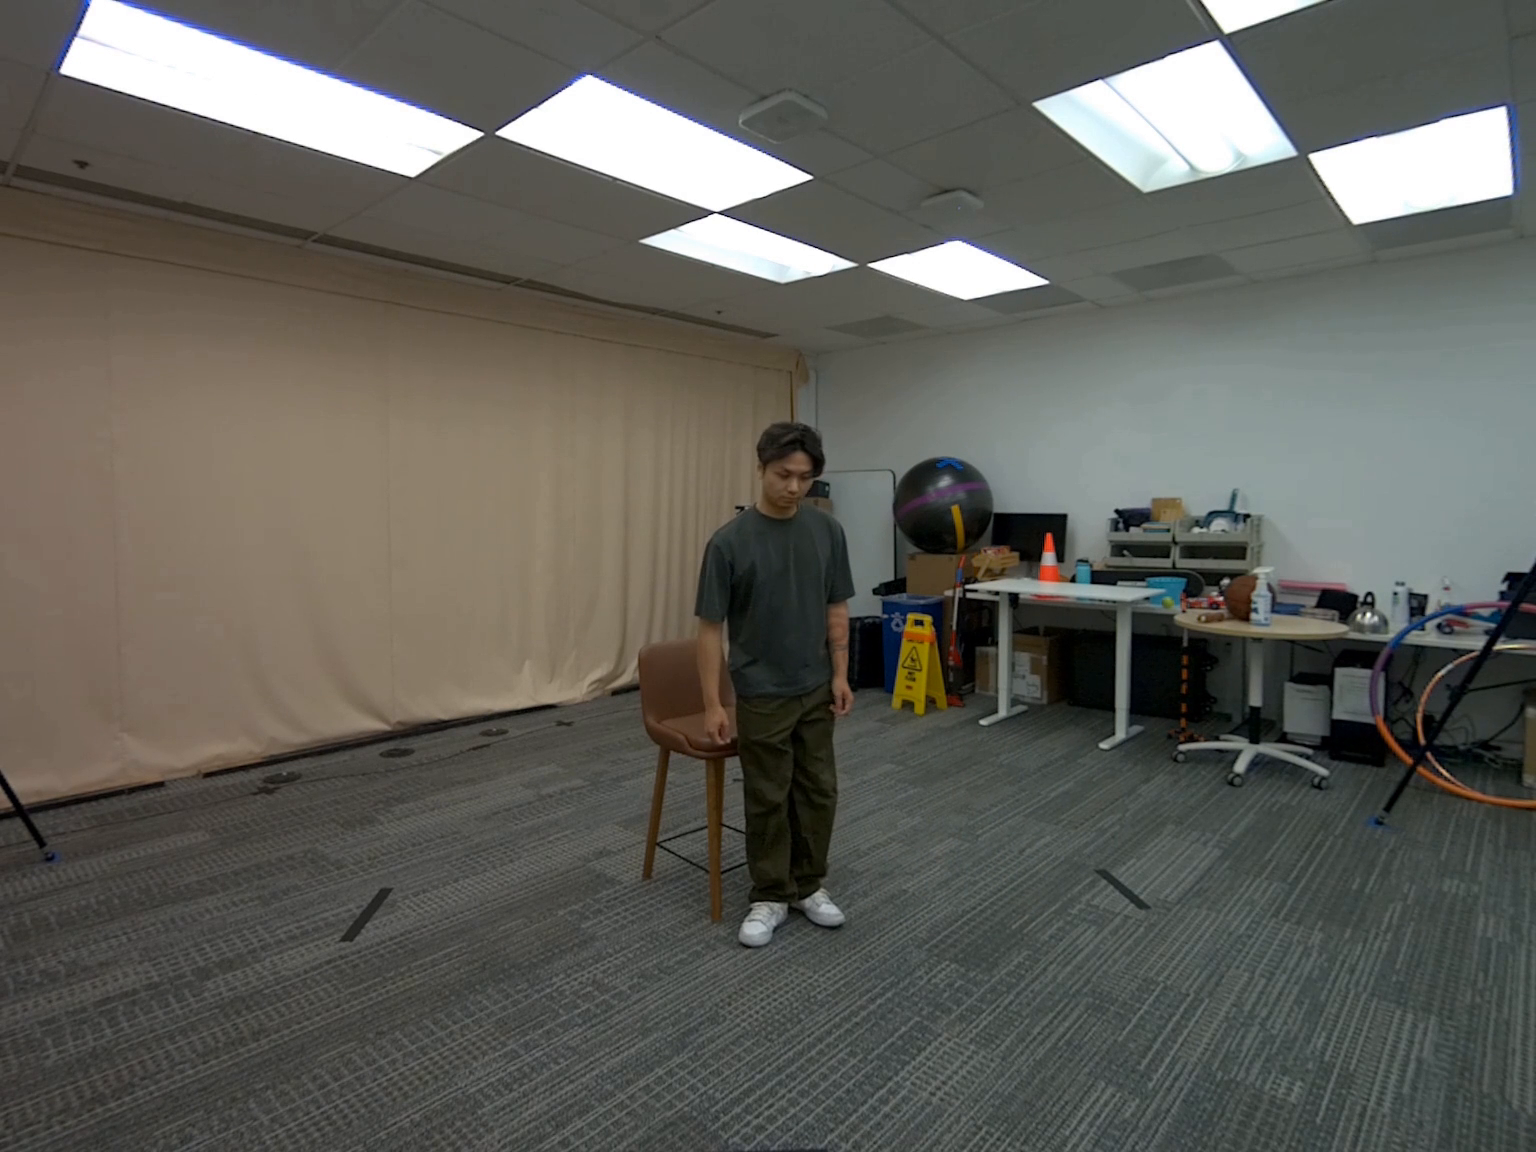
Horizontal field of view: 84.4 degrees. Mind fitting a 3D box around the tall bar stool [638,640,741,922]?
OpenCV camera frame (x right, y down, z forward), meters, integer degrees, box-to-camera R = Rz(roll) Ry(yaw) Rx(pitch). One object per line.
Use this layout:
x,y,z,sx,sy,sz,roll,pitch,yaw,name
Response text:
-0.191,0.697,3.089,0.442,0.888,0.483,-3,3,-42,tall bar stool
